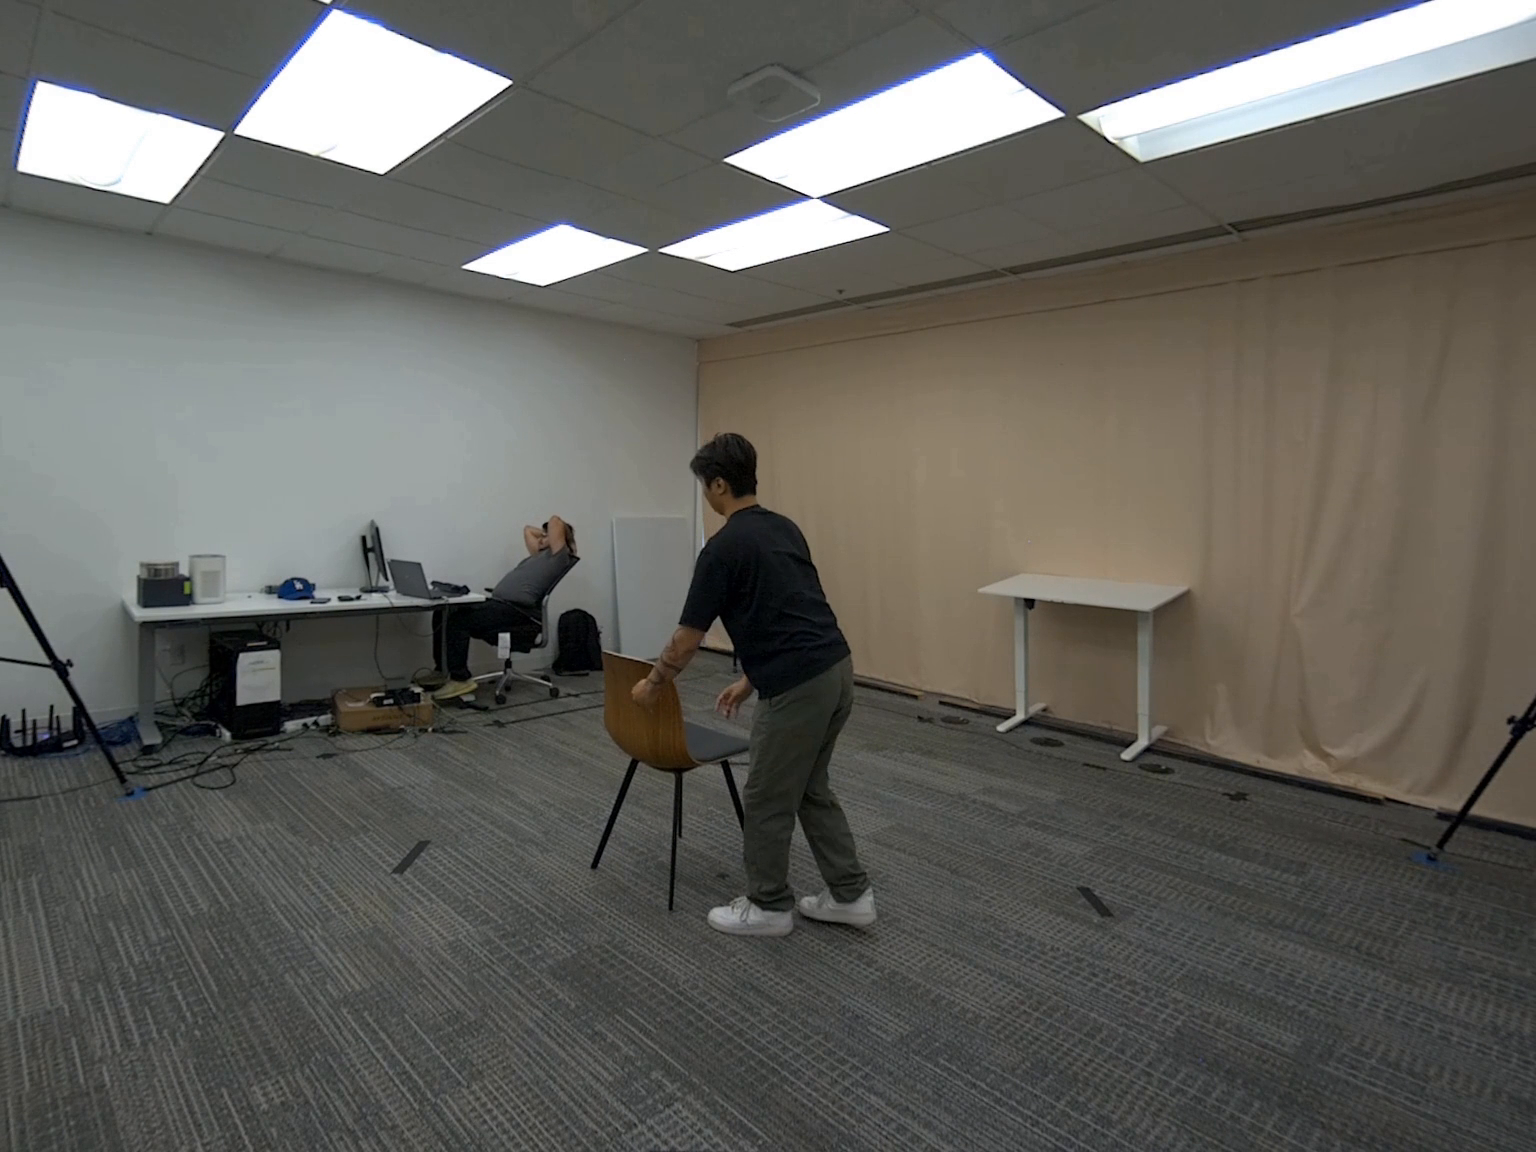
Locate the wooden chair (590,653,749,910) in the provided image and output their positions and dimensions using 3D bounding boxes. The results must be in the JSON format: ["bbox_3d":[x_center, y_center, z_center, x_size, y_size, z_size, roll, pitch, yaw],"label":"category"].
[{"bbox_3d":[-0.335,0.672,3.124,0.490,0.873,0.512,3,8,43],"label":"wooden chair"}]
